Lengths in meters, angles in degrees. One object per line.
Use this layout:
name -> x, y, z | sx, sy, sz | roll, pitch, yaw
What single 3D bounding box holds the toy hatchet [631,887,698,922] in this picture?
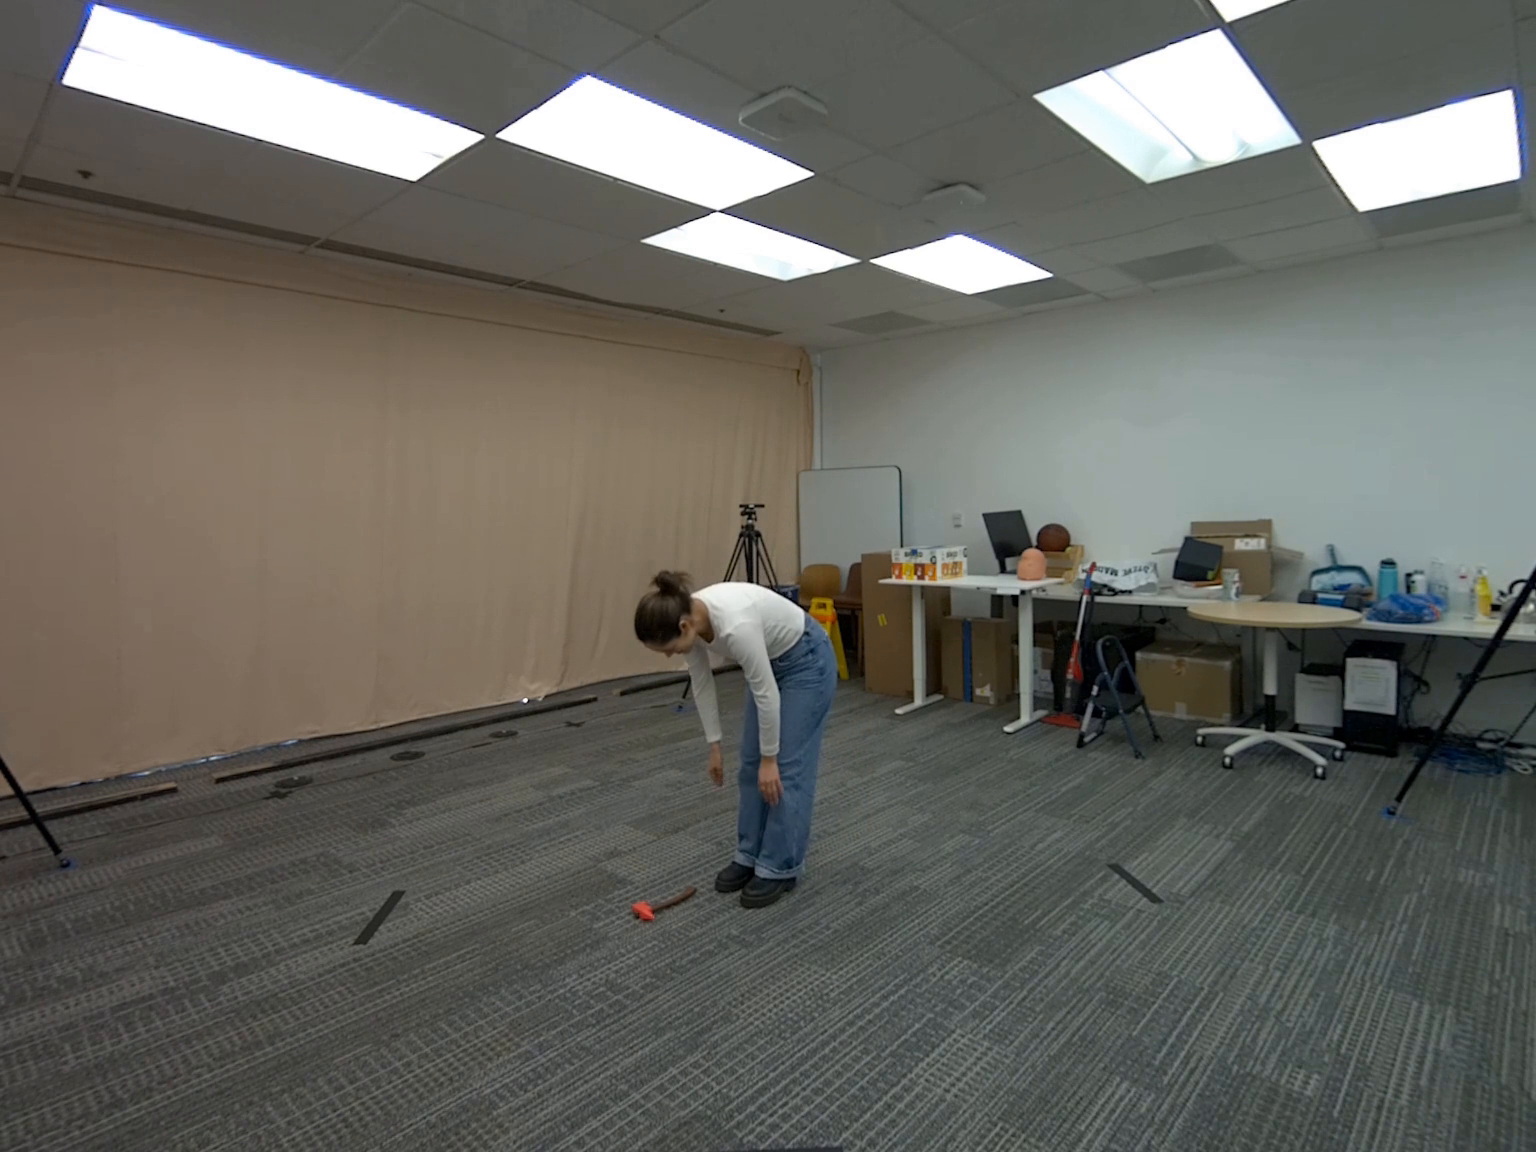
toy hatchet -> -0.374, 1.139, 2.954 | 0.134, 0.029, 0.263 | -2, 1, 29
